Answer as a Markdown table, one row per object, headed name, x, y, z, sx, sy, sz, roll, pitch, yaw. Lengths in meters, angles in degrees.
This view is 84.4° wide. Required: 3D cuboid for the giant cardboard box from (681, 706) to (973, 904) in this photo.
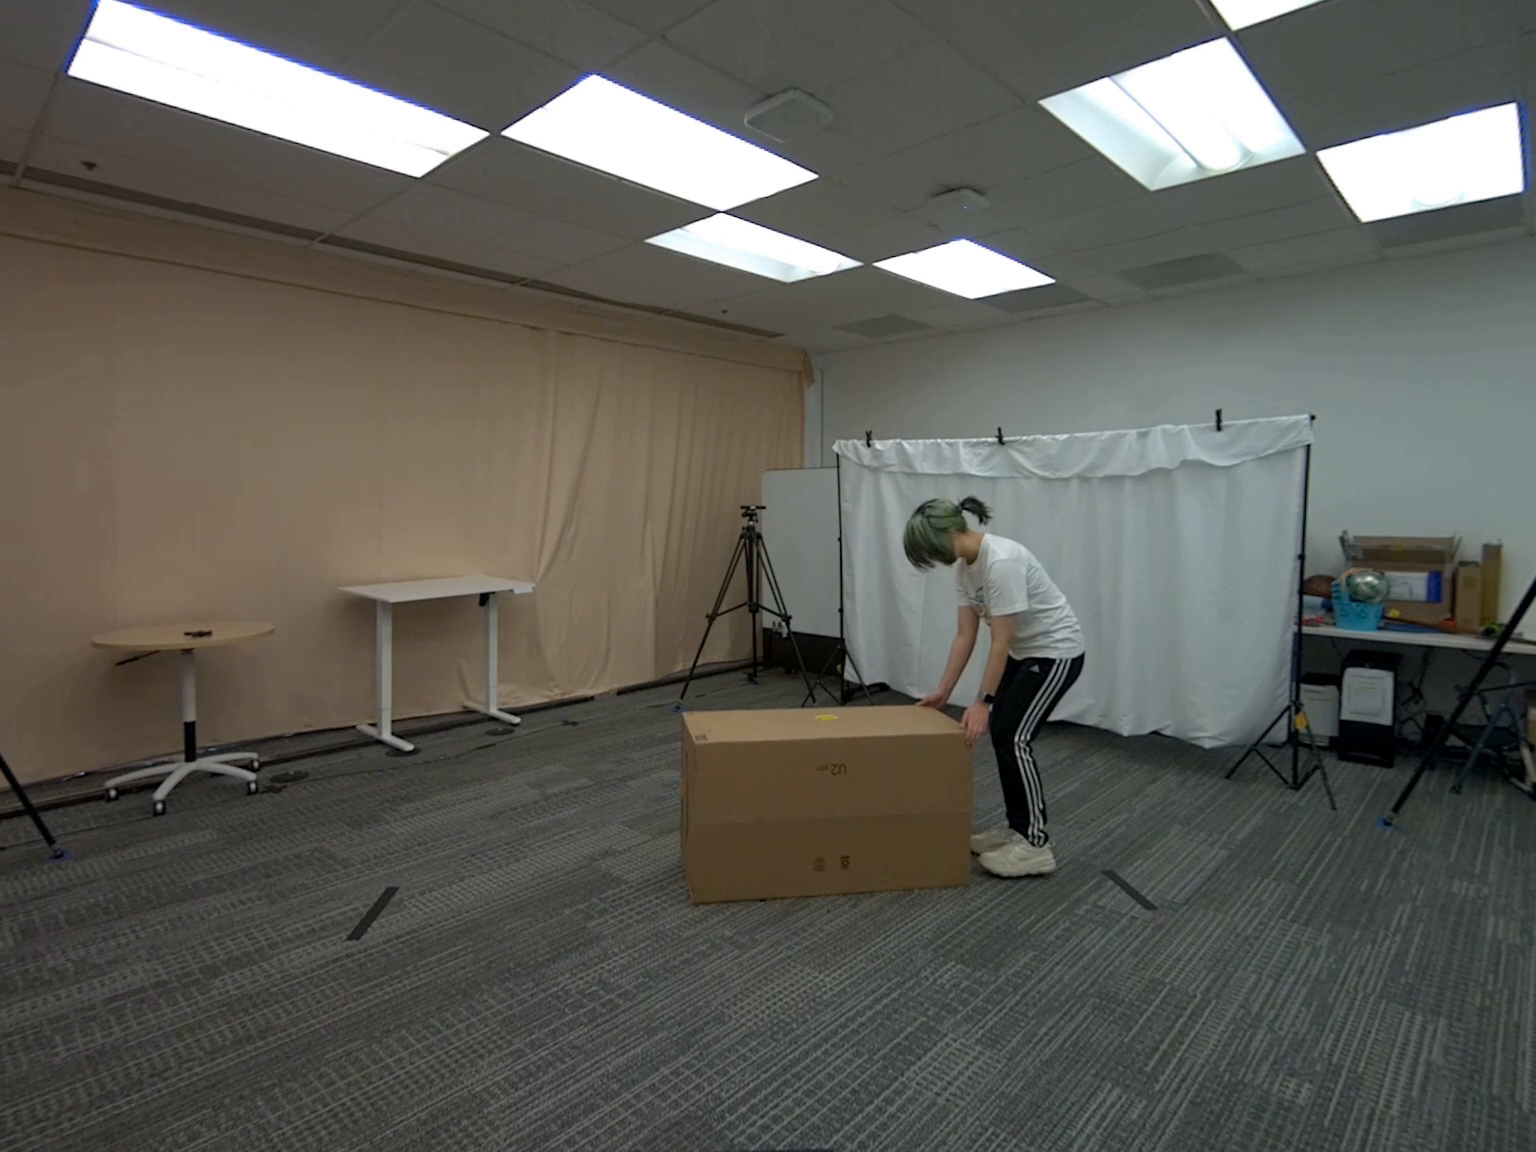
| name | x | y | z | sx | sy | sz | roll | pitch | yaw |
| --- | --- | --- | --- | --- | --- | --- | --- | --- | --- |
| giant cardboard box | 0.202 | 0.834 | 3.196 | 1.017 | 0.583 | 0.452 | 0 | 3 | -9 |
